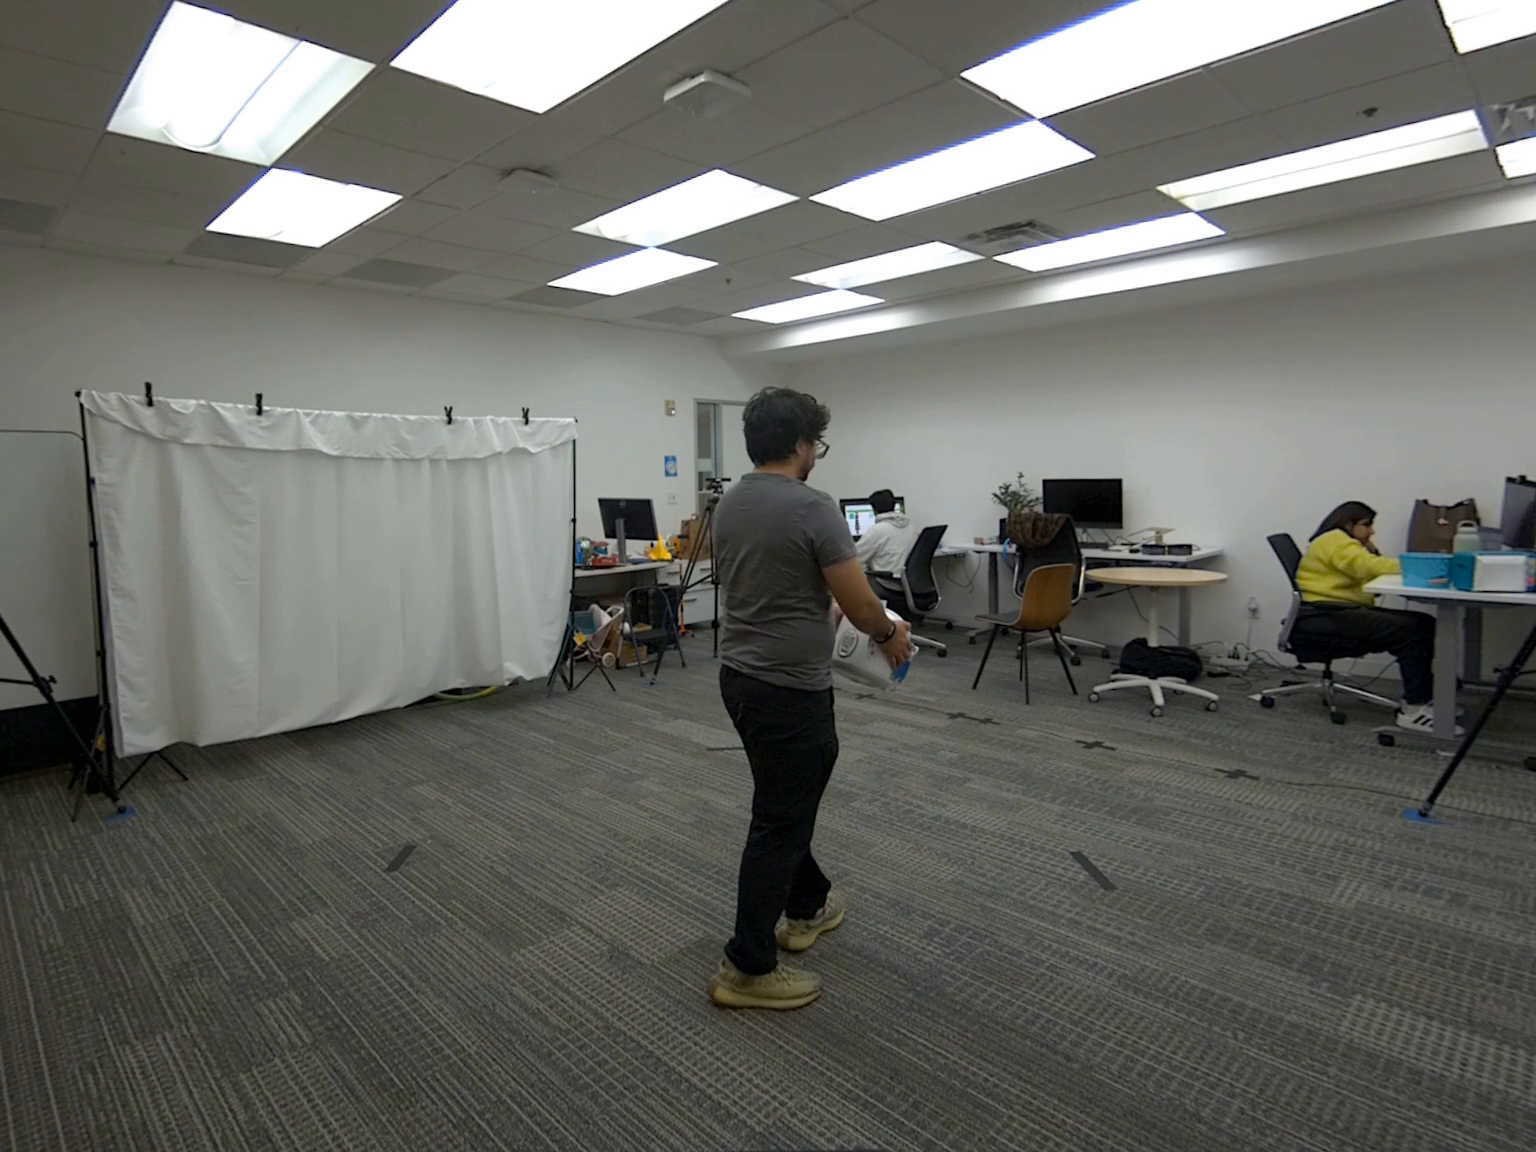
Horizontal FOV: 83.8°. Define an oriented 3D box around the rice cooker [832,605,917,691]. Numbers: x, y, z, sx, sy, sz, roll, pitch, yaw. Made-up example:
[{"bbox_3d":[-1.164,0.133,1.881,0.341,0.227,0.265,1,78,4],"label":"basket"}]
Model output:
[{"bbox_3d":[0.311,0.203,2.557,0.228,0.234,0.209,13,-15,45],"label":"rice cooker"}]
